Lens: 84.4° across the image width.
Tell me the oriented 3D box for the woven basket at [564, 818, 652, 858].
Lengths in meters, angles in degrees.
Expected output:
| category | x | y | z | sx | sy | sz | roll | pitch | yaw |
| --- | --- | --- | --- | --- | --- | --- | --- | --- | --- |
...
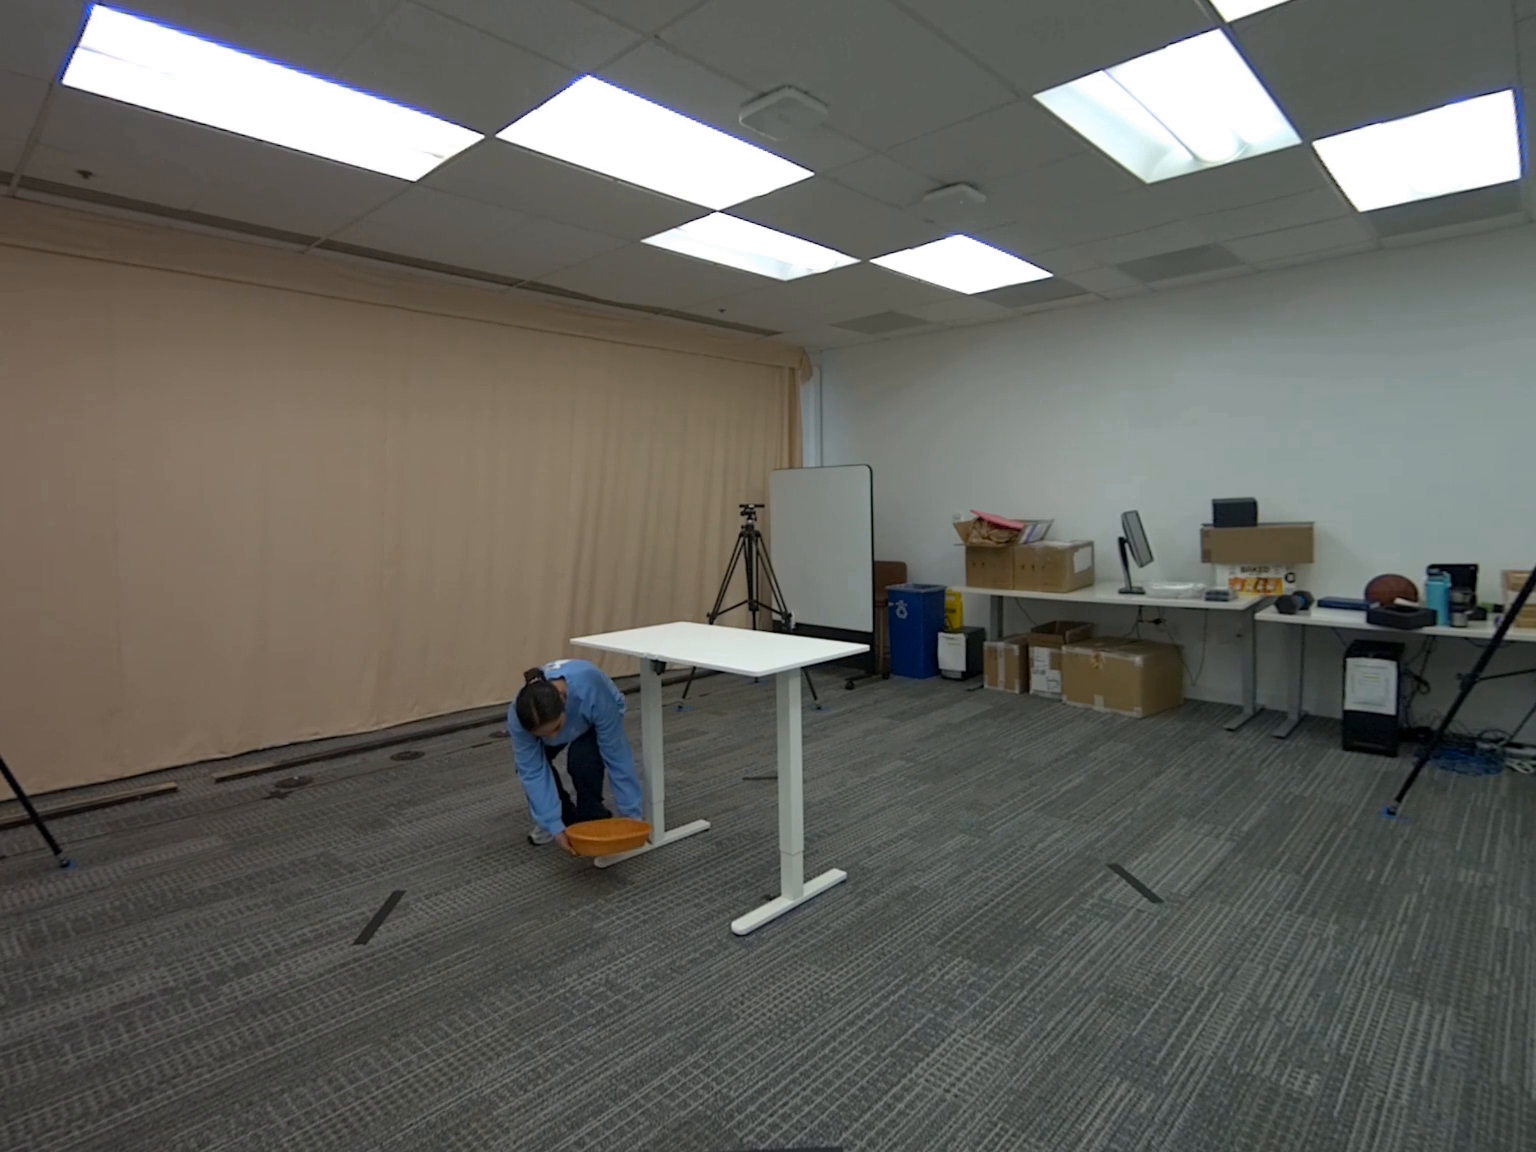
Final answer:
| category | x | y | z | sx | sy | sz | roll | pitch | yaw |
| --- | --- | --- | --- | --- | --- | --- | --- | --- | --- |
| woven basket | -0.611 | 0.984 | 3.169 | 0.339 | 0.073 | 0.260 | 4 | -2 | -37 |
